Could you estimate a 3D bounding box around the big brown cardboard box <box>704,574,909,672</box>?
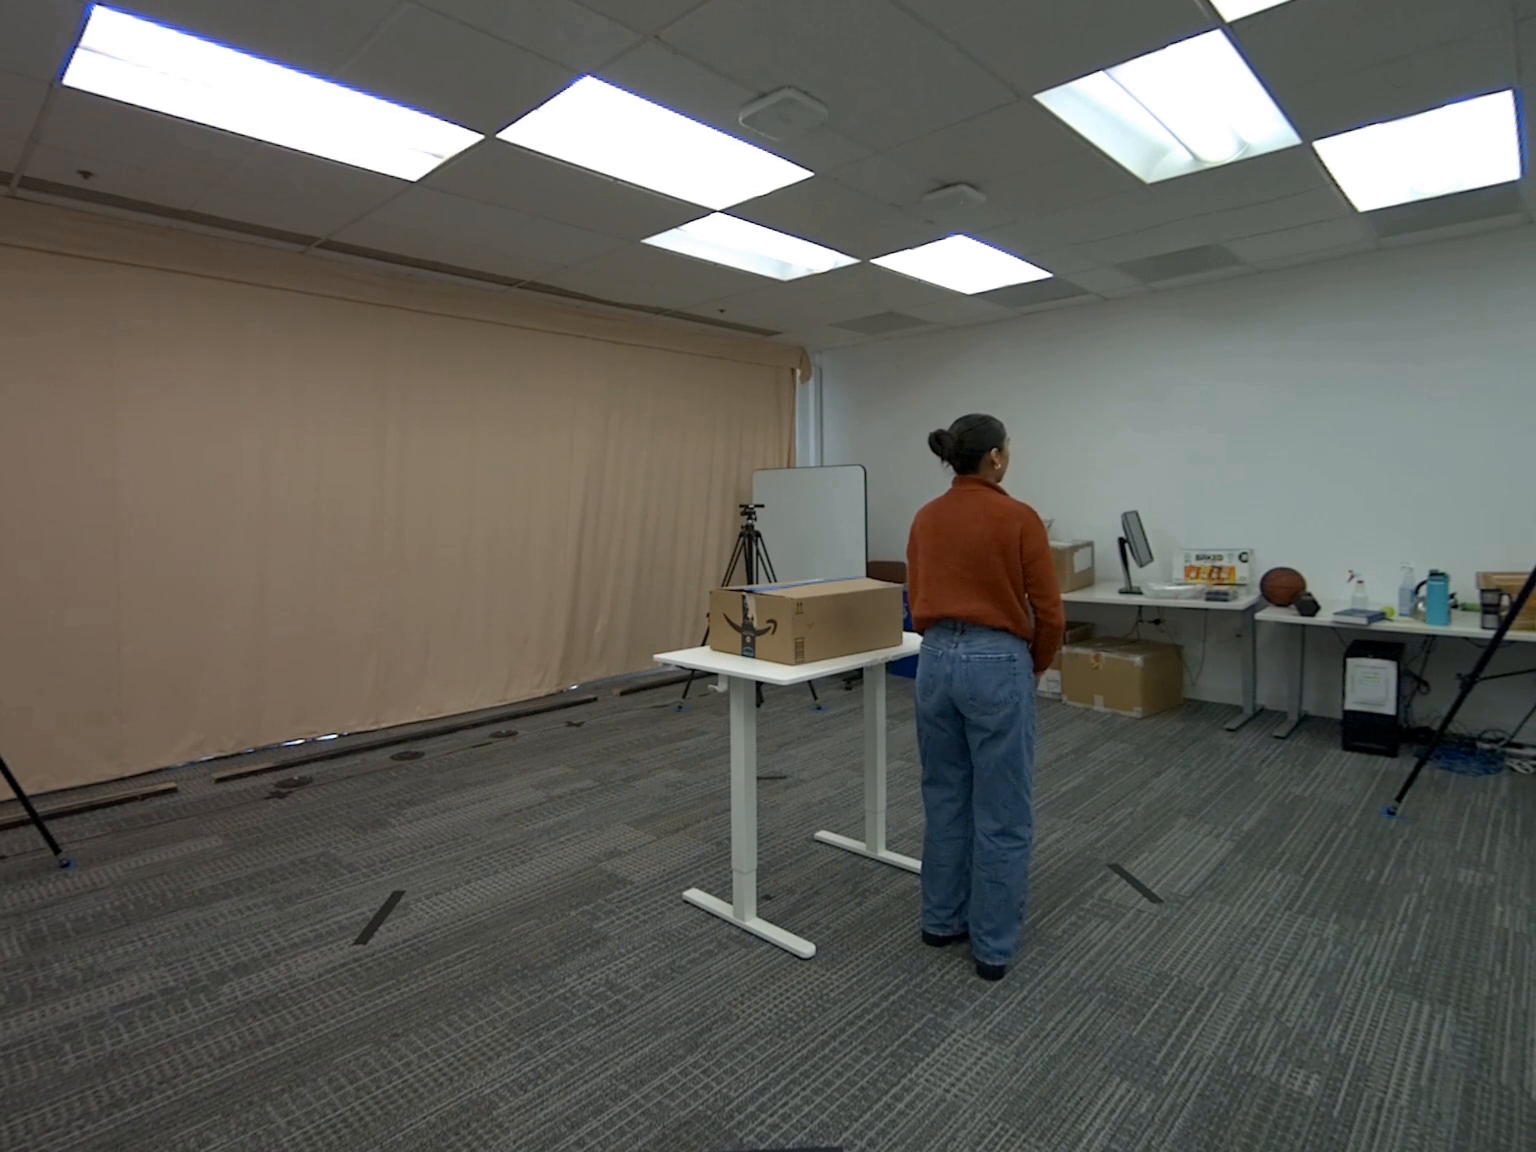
[{"bbox_3d":[0.139,0.146,2.987,0.571,0.232,0.431,-6,7,-40],"label":"big brown cardboard box"}]
